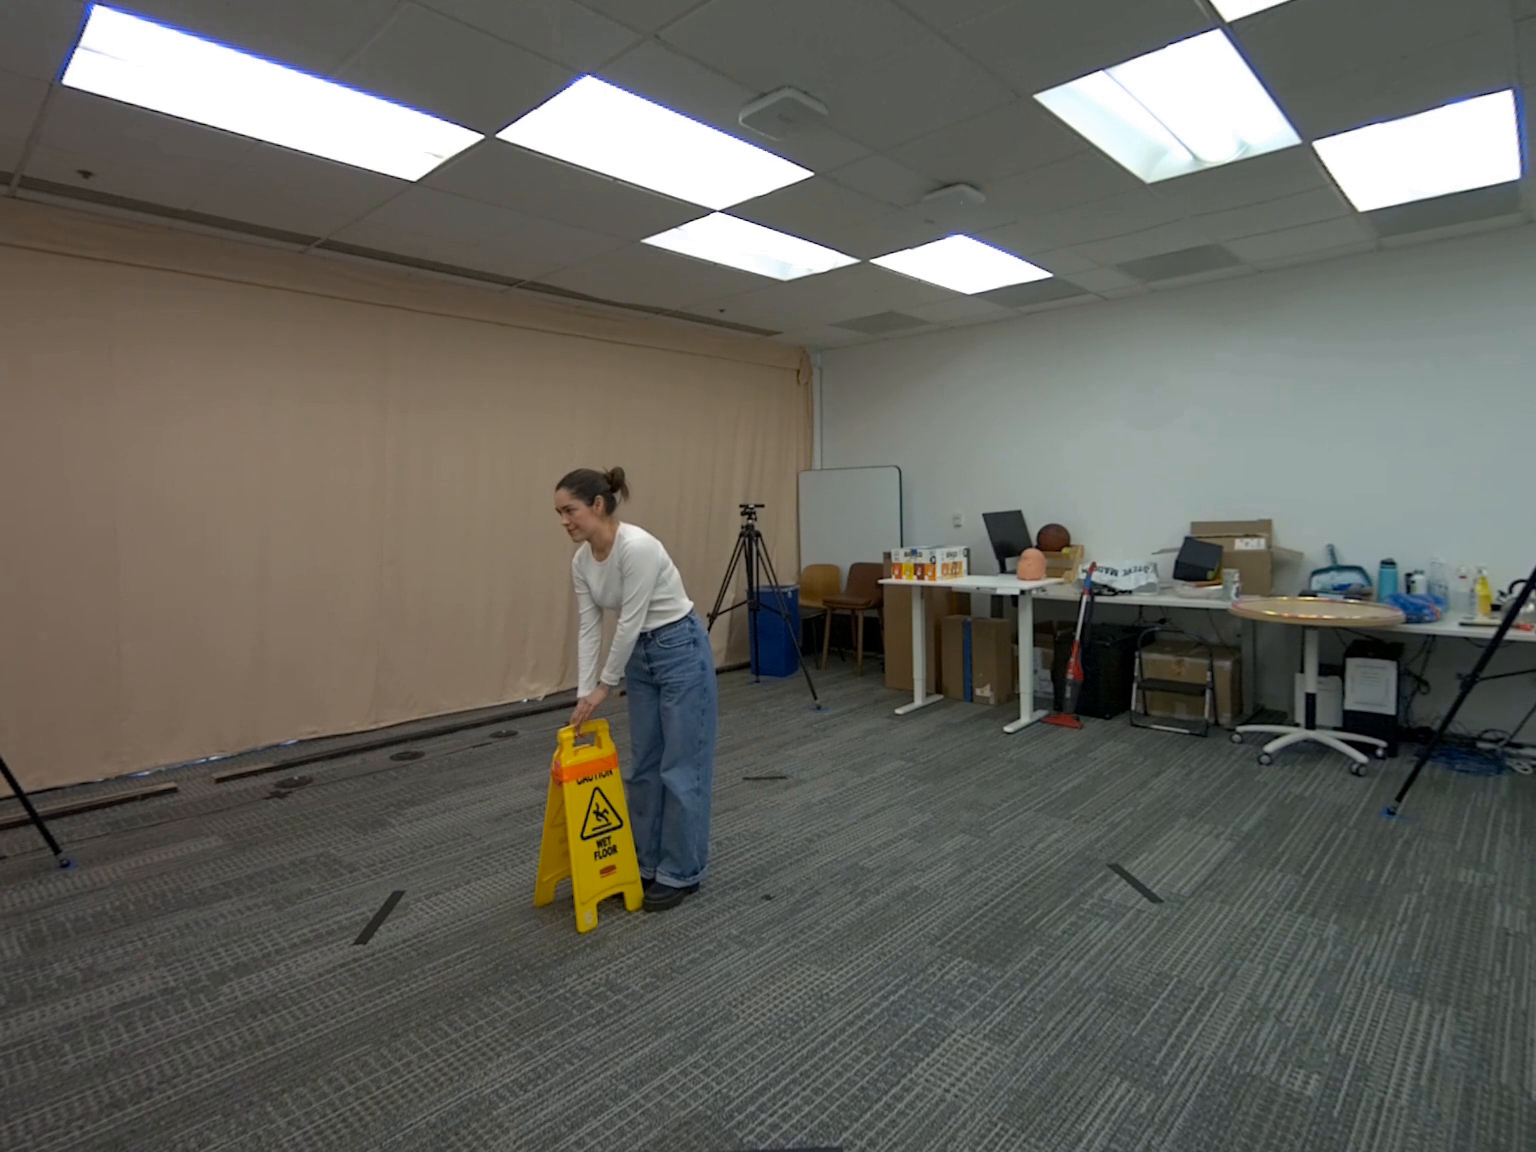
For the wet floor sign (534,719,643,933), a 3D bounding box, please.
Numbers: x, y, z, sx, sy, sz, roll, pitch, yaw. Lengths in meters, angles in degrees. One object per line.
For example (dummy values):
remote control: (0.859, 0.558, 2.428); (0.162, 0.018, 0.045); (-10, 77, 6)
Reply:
wet floor sign: (-0.631, 0.836, 2.929); (0.299, 0.644, 0.274); (2, 6, 44)
